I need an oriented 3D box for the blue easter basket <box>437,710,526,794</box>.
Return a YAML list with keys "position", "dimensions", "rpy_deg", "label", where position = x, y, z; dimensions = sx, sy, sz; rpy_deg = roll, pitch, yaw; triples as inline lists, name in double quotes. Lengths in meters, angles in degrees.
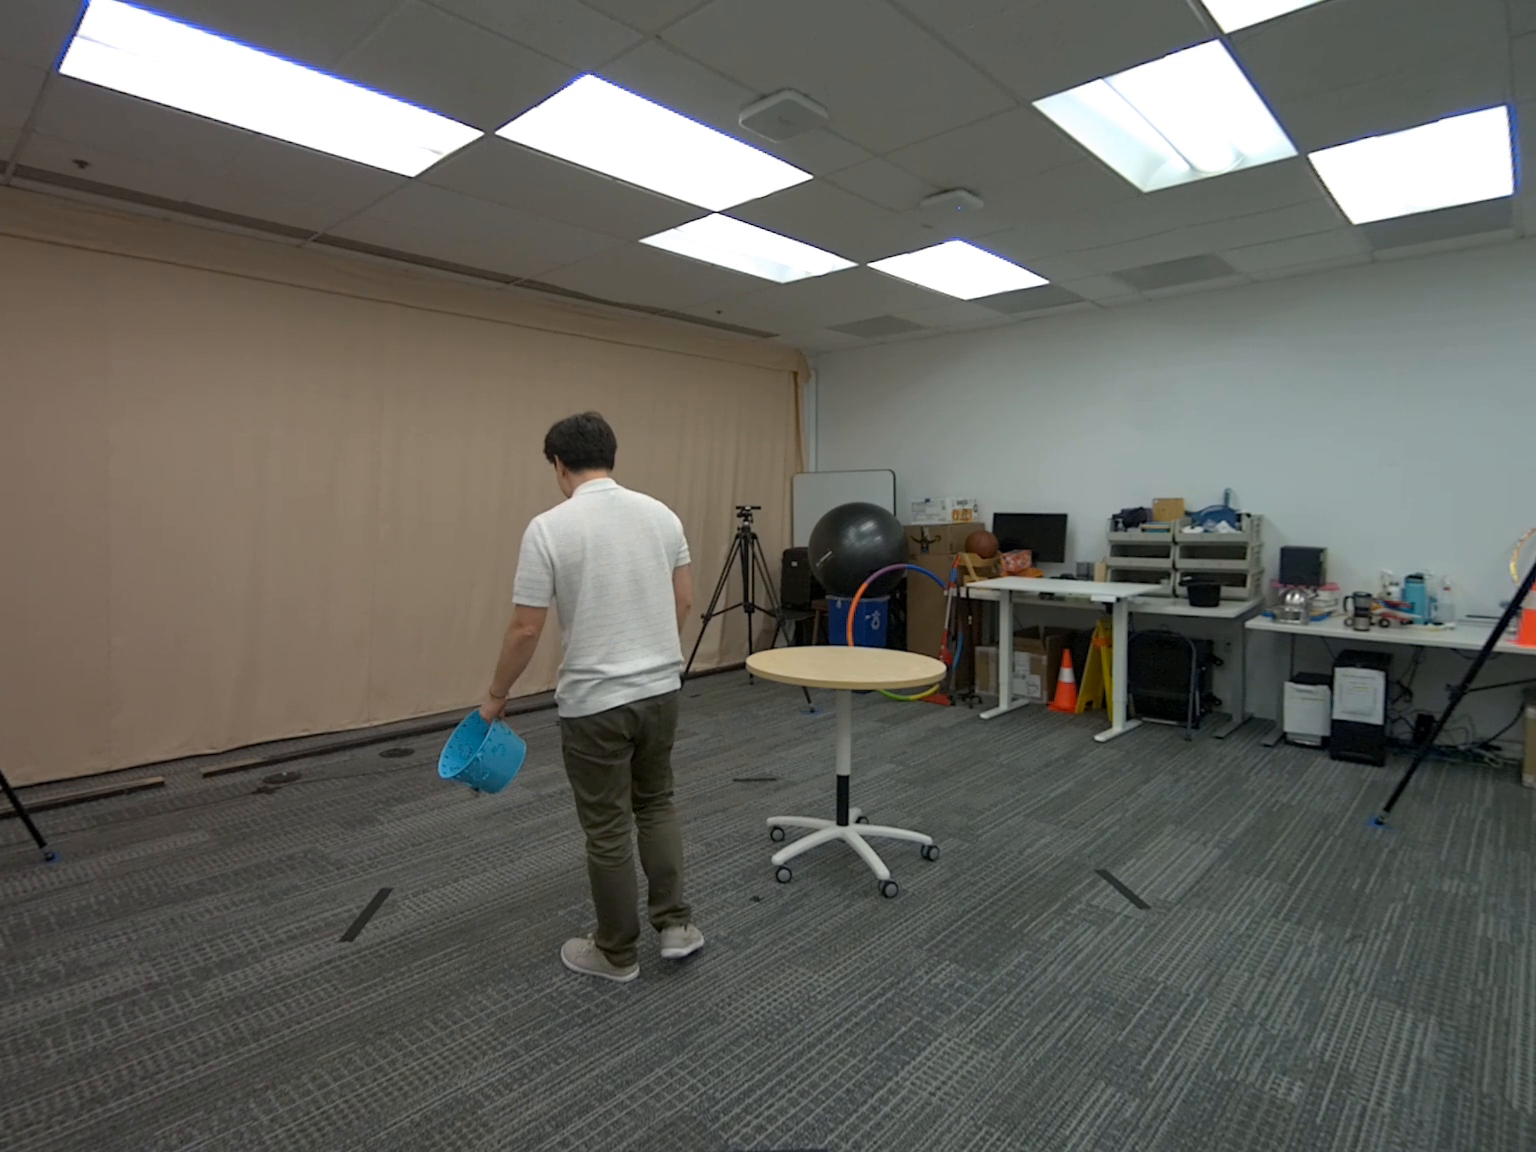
- position: [-0.824, 0.536, 2.470]
  dimensions: [0.151, 0.243, 0.251]
  rpy_deg: [43, -21, -30]
  label: "blue easter basket"
